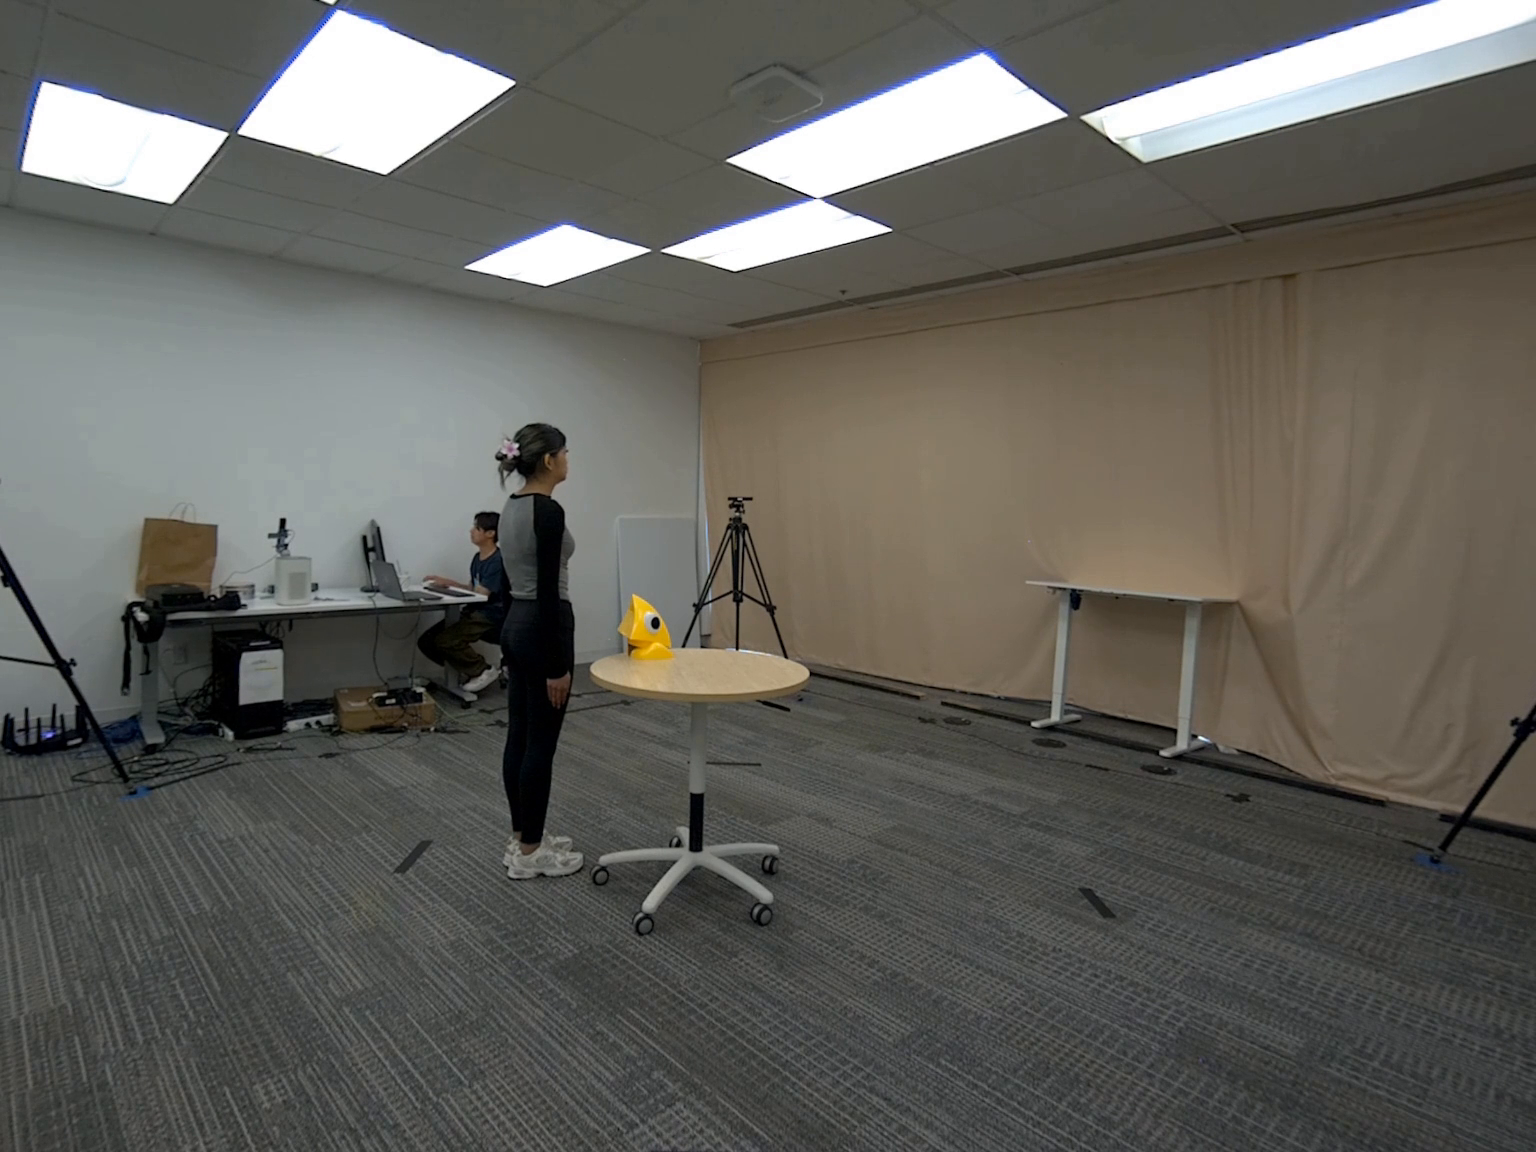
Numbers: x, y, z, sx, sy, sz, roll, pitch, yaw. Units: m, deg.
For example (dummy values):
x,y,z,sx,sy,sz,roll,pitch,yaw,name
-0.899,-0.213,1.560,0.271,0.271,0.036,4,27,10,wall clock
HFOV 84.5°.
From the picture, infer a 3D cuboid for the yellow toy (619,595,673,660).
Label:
x,y,z,sx,sy,sz,roll,pitch,yaw,name
-0.464,0.182,3.168,0.190,0.230,0.209,1,4,-23,yellow toy
